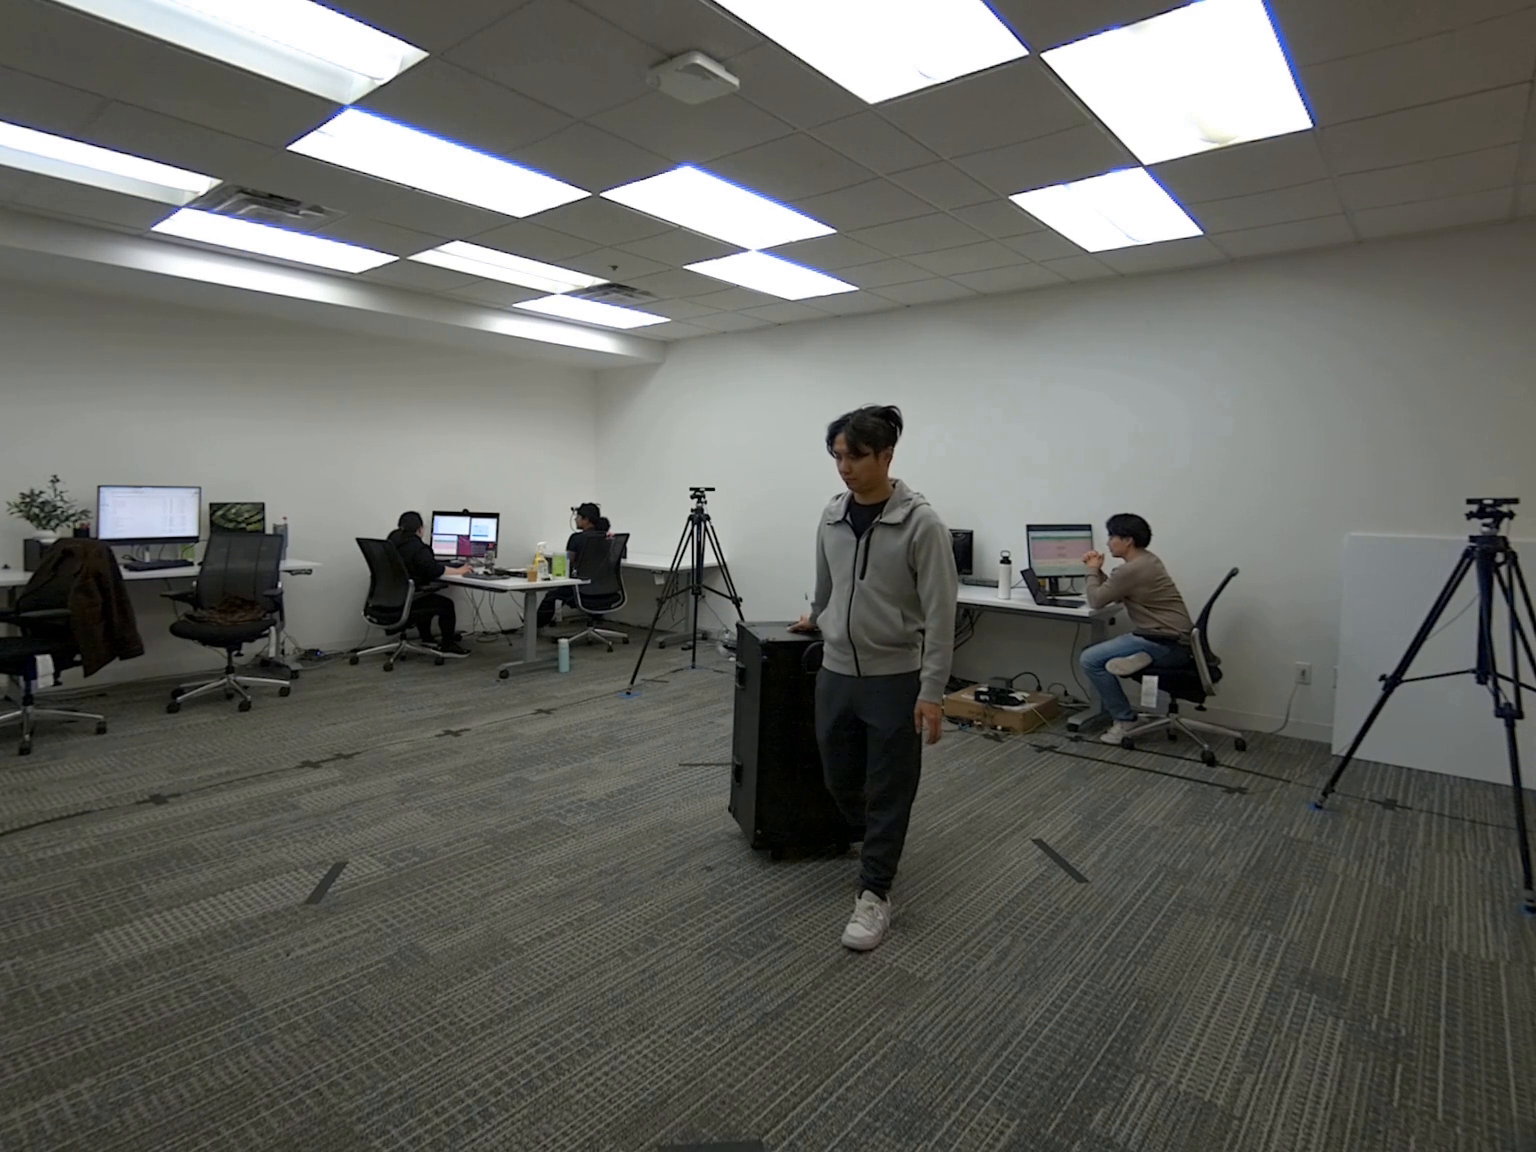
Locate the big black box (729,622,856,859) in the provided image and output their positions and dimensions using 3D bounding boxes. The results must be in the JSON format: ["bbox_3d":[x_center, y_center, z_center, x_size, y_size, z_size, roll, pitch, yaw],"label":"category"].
[{"bbox_3d":[0.134,0.630,3.300,0.513,0.856,0.405,1,7,-16],"label":"big black box"}]
